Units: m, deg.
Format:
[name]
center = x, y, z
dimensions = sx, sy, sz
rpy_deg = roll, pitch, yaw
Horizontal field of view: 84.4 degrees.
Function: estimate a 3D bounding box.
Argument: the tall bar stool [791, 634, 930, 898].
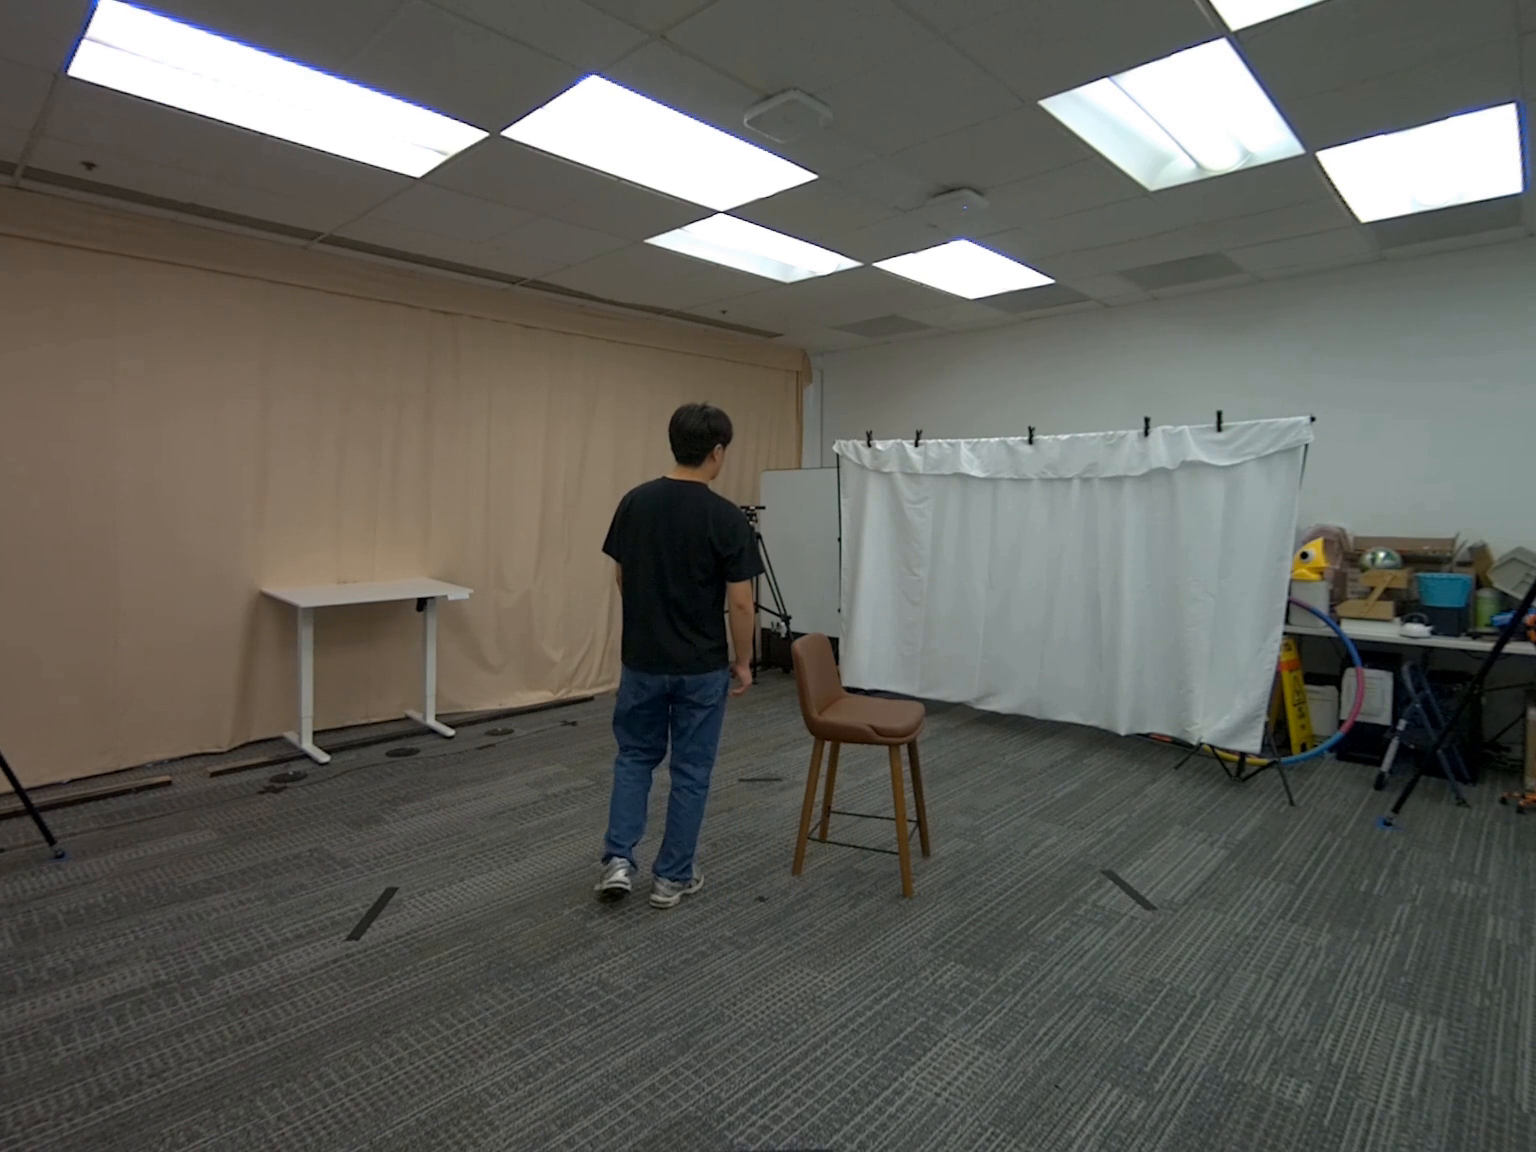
[tall bar stool]
center = 0.365, 0.686, 3.238
dimensions = 0.479, 0.888, 0.446
rpy_deg = 0, 2, 23
